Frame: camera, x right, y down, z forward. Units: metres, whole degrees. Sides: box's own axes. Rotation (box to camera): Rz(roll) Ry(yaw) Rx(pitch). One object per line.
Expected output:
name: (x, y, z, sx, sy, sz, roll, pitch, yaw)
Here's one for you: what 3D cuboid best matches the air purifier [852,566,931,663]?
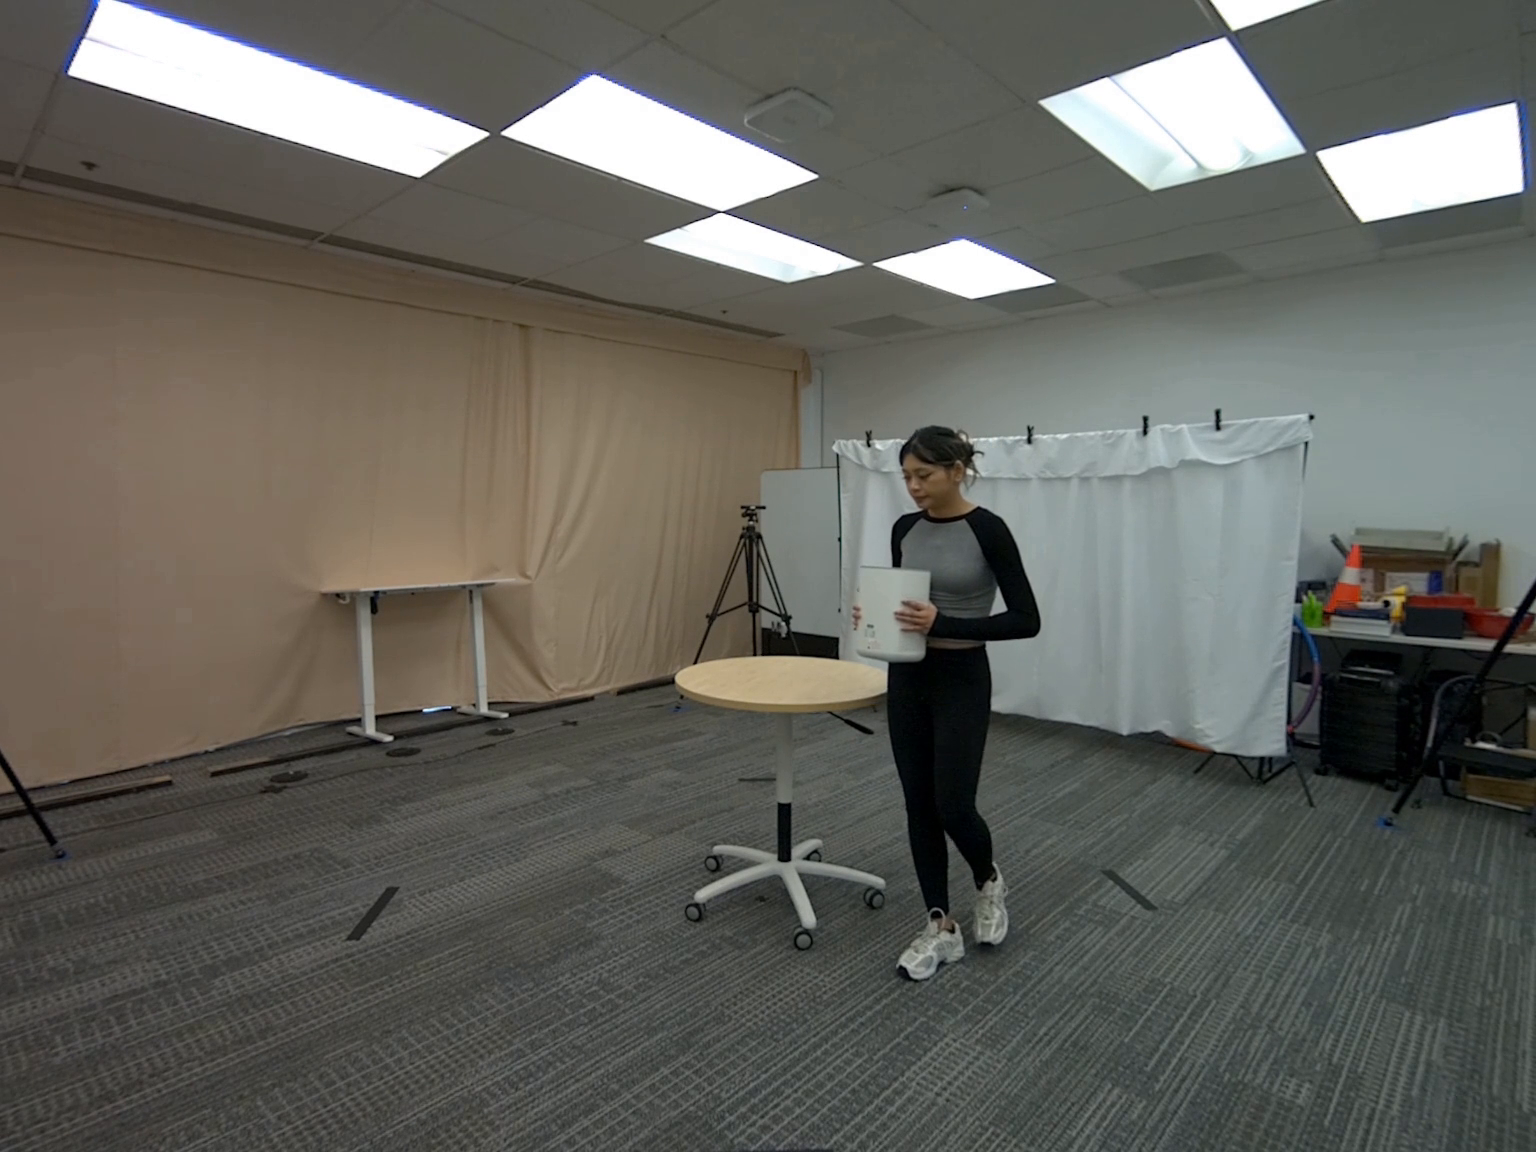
air purifier: (0.371, 0.112, 2.440, 0.166, 0.265, 0.176, 6, -1, -36)
